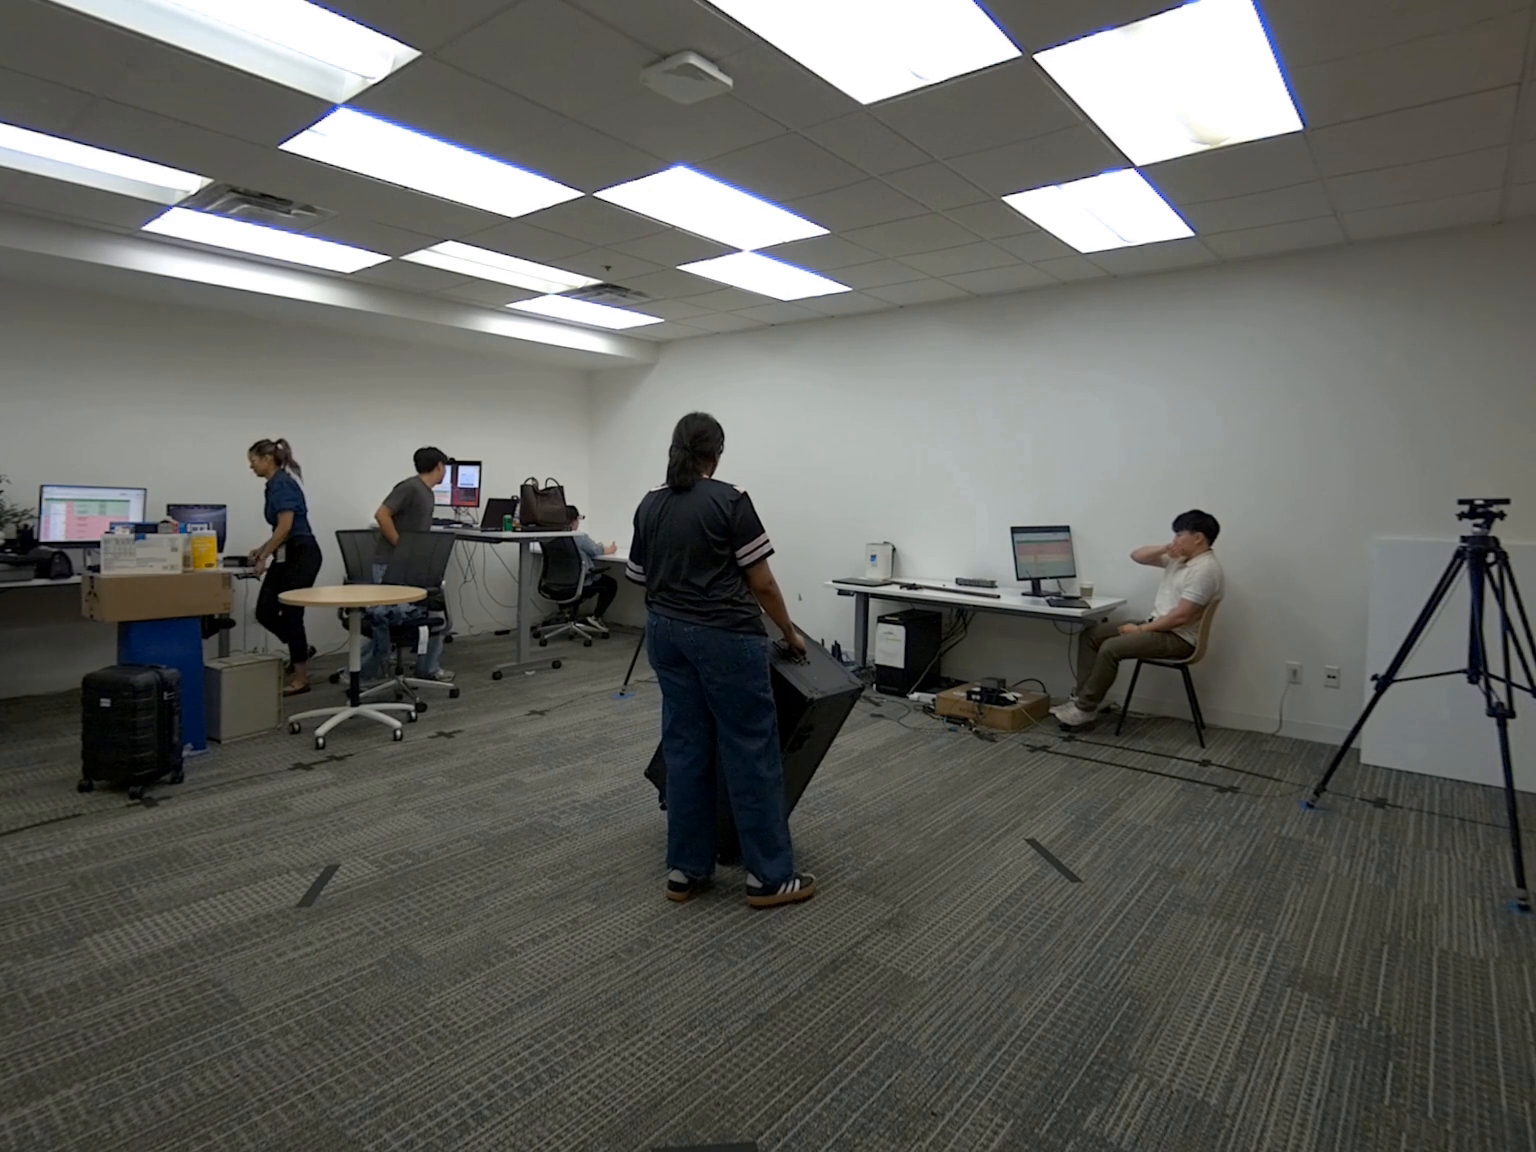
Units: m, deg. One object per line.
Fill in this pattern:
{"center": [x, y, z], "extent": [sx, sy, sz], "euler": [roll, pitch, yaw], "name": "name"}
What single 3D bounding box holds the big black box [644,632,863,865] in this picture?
{"center": [-0.095, 0.623, 3.295], "extent": [0.544, 0.861, 0.374], "euler": [39, 25, 30], "name": "big black box"}
